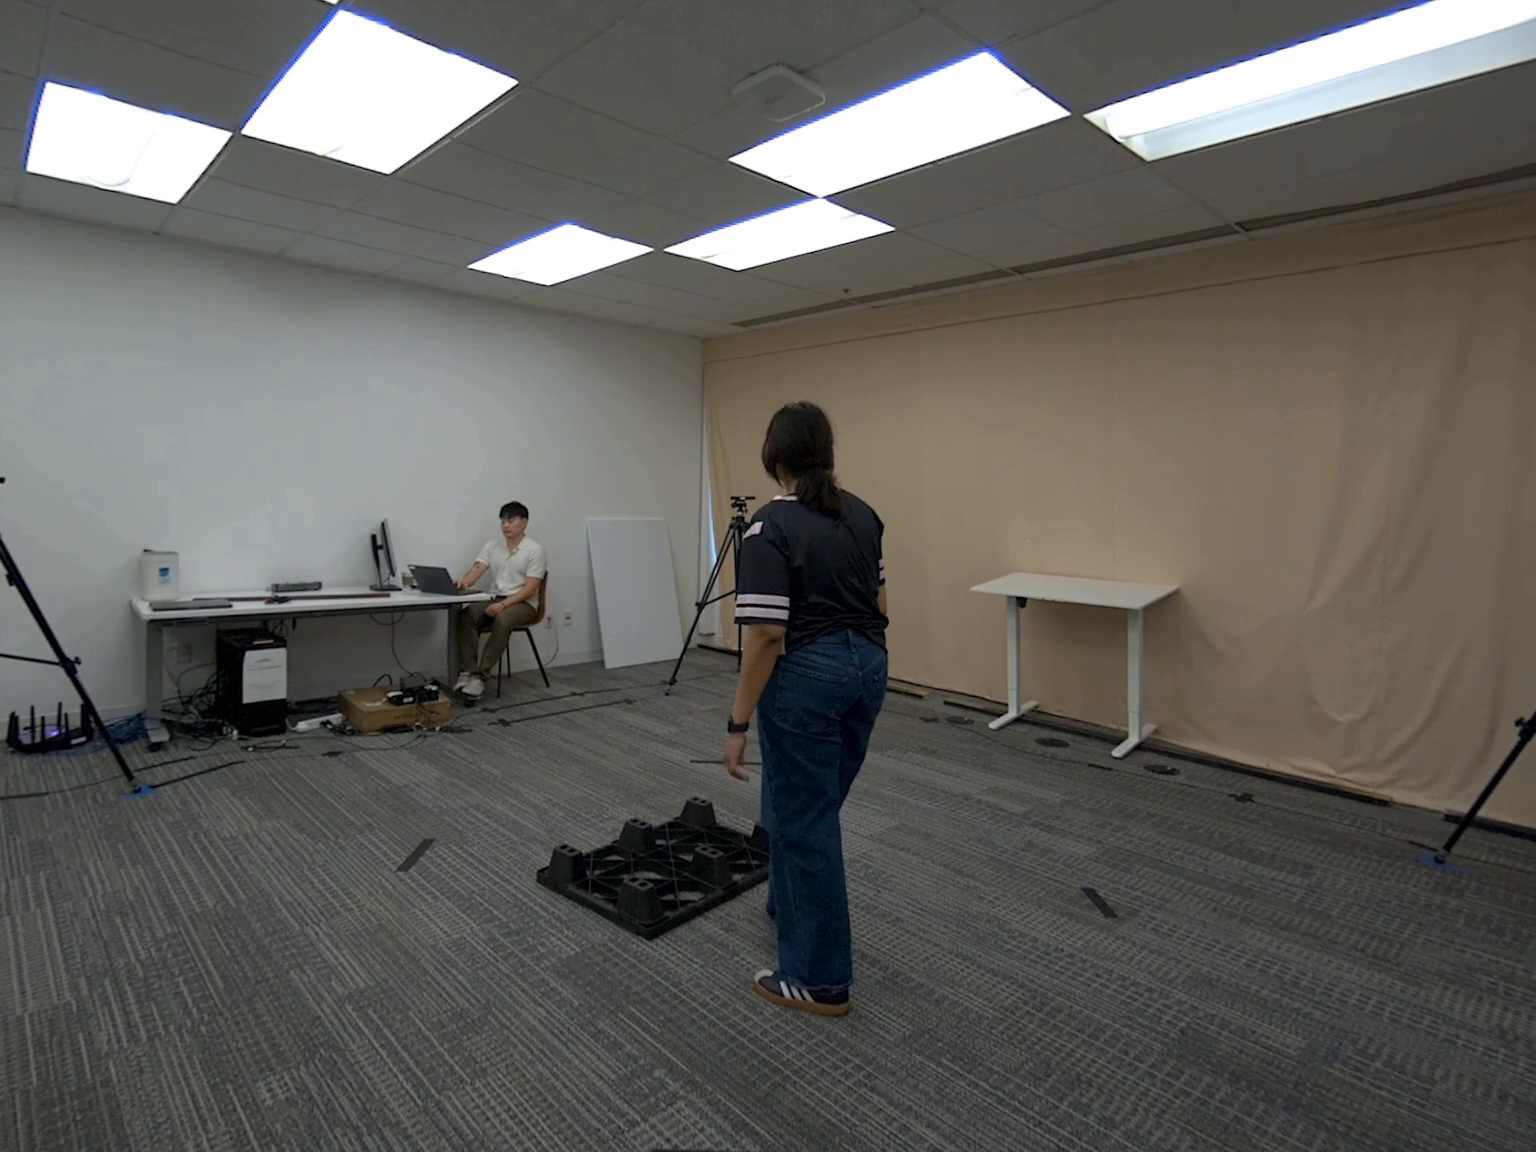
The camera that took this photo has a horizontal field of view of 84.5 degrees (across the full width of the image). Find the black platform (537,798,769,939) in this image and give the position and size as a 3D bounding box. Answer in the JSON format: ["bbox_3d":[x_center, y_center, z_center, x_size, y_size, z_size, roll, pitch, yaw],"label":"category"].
[{"bbox_3d":[-0.362,1.033,3.123,0.620,0.143,0.788,6,7,40],"label":"black platform"}]
